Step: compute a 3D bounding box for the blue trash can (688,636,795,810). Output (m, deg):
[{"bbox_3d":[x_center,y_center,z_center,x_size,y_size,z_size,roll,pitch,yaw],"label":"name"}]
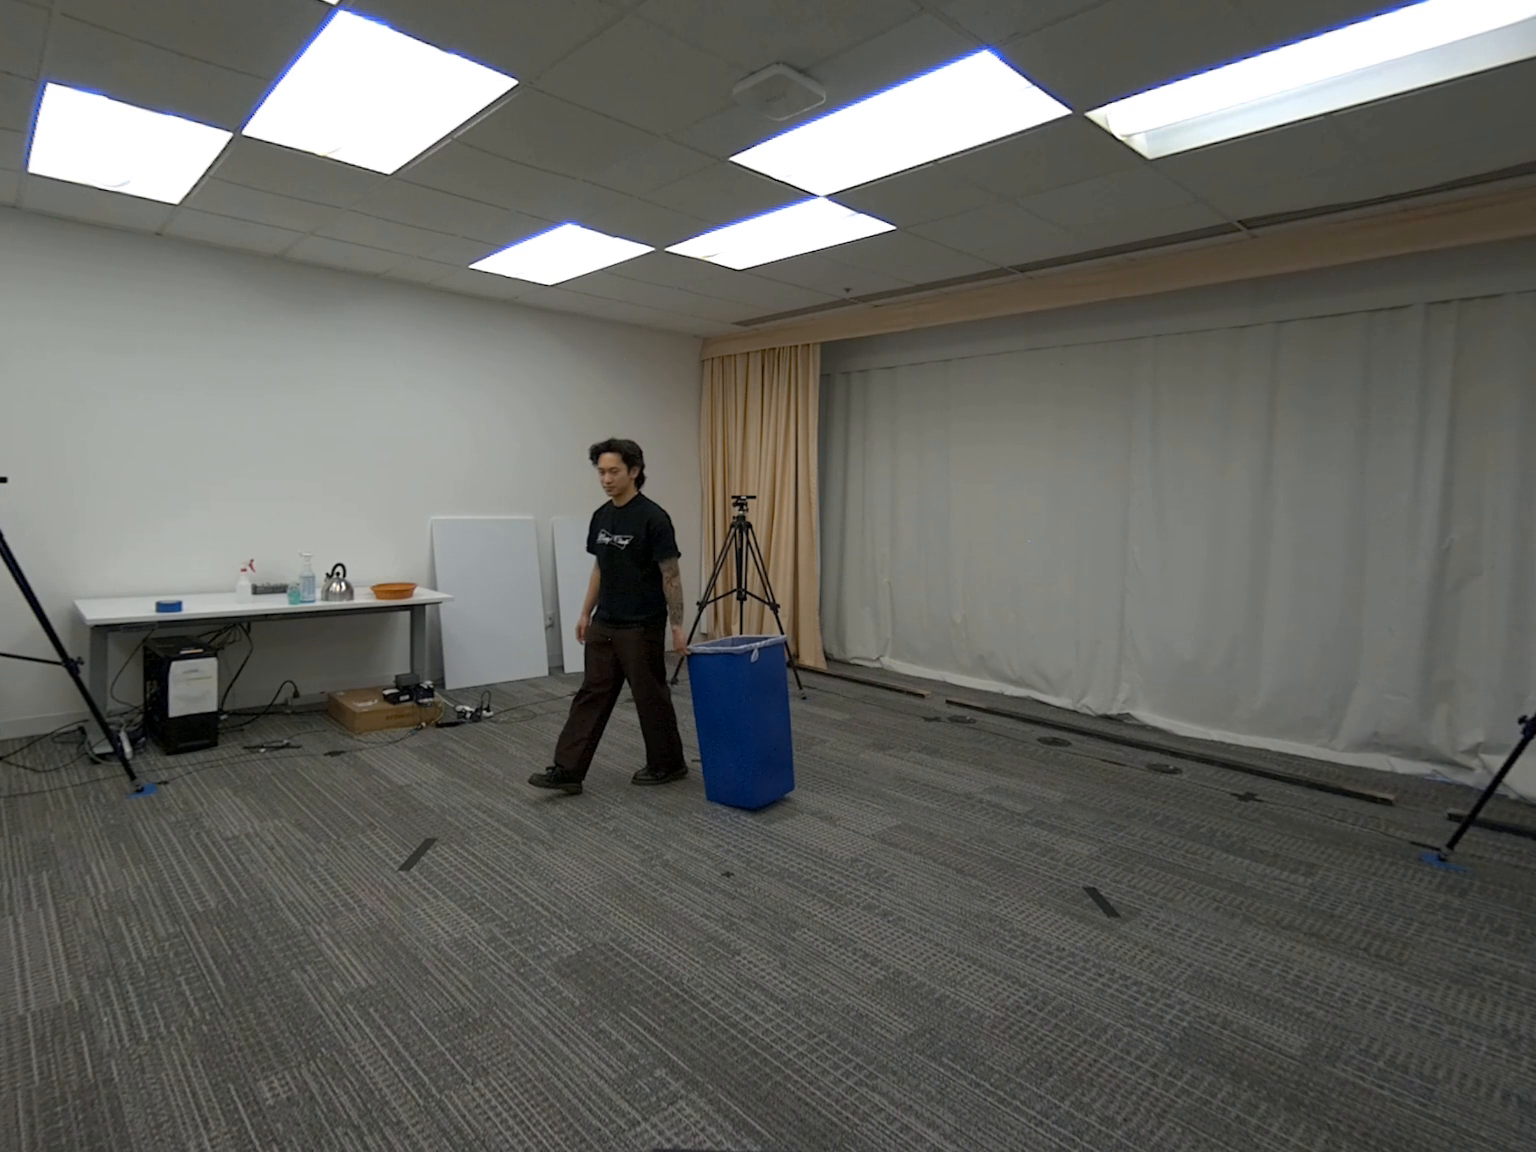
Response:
[{"bbox_3d":[-0.134,0.659,3.888,0.382,0.713,0.370,-4,2,38],"label":"blue trash can"}]
